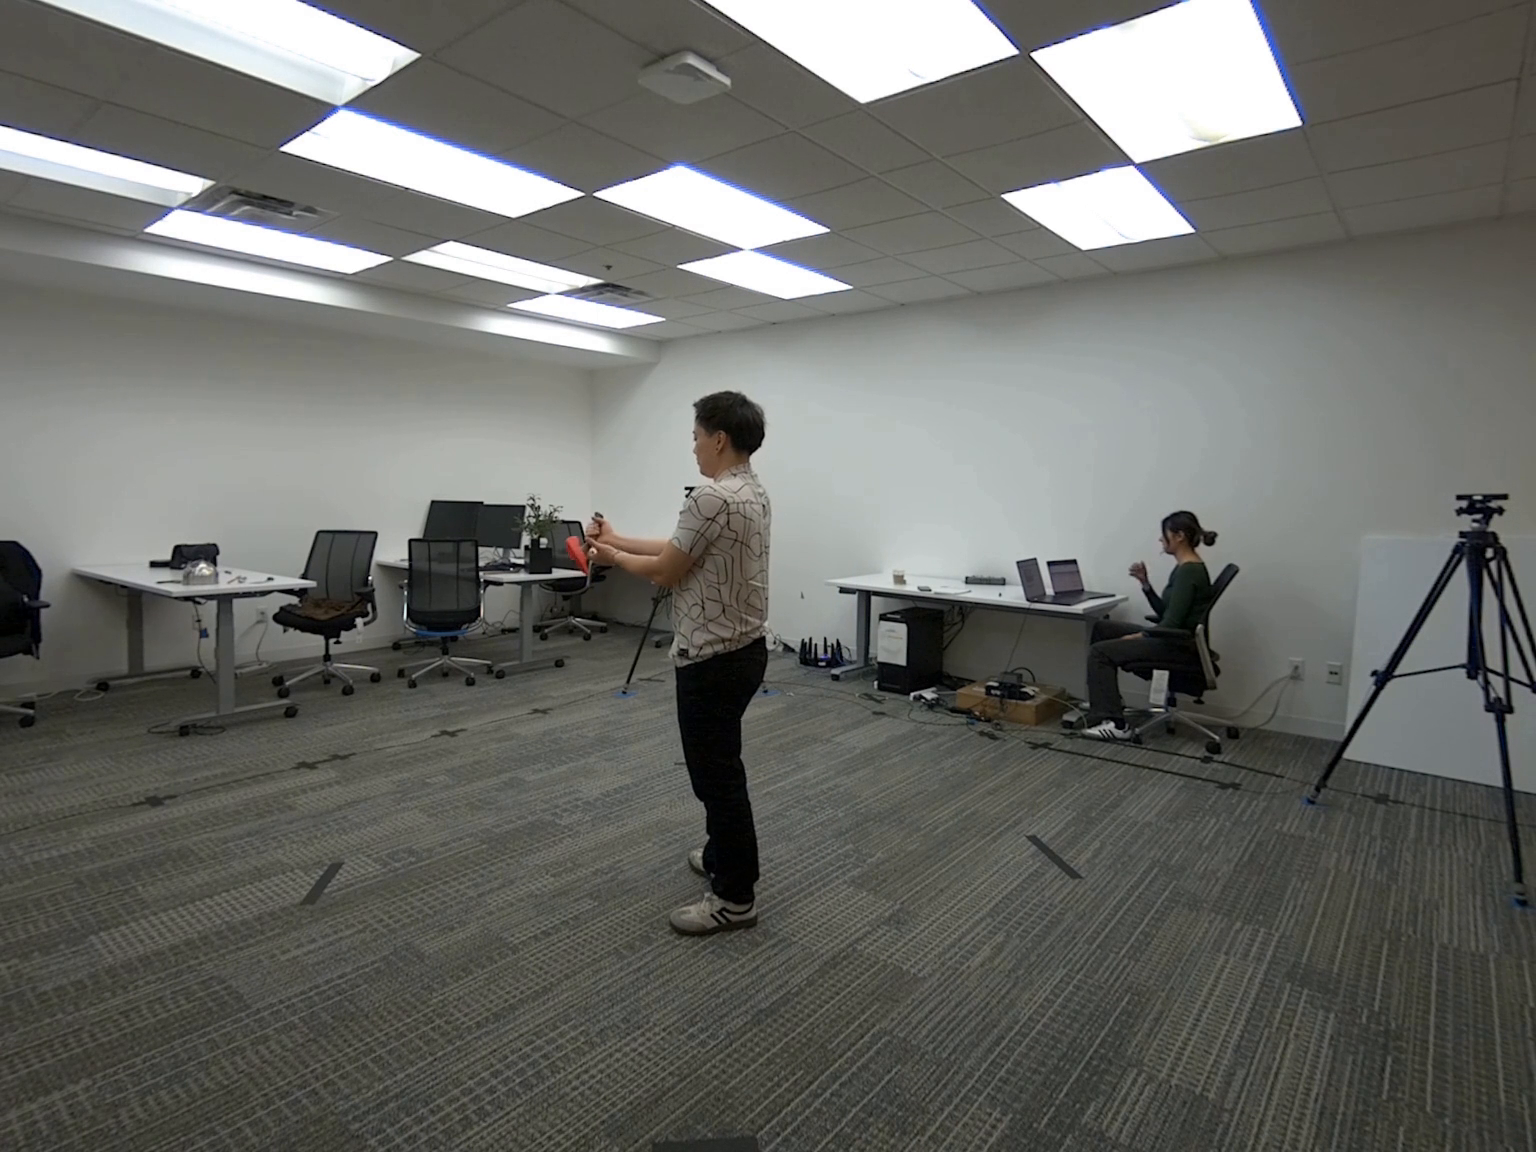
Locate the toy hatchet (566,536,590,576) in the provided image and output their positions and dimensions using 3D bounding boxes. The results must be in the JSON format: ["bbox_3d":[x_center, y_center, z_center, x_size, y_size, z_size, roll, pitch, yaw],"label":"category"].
[{"bbox_3d":[-0.619,-0.134,2.796,0.030,0.277,0.126,-18,-48,22],"label":"toy hatchet"}]
